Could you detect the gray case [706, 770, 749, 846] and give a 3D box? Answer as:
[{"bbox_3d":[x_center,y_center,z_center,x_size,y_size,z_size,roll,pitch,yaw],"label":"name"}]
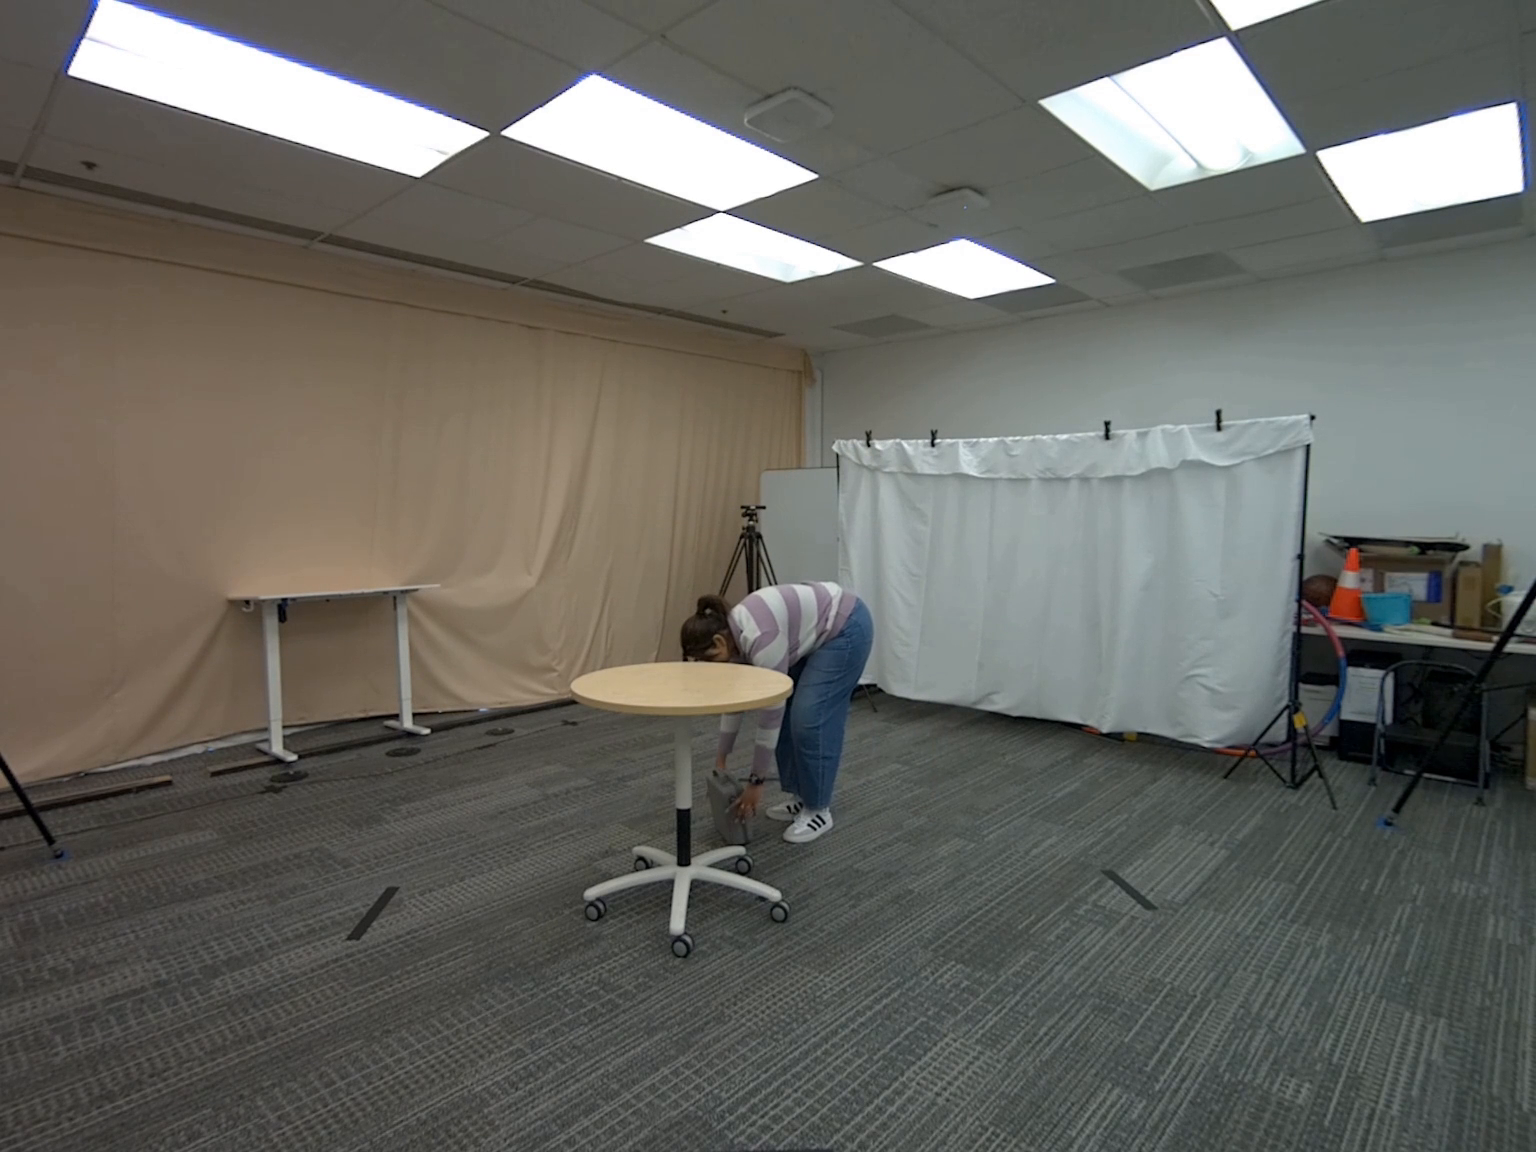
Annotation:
[{"bbox_3d":[-0.161,0.970,3.545,0.102,0.259,0.262,-10,6,-19],"label":"gray case"}]
